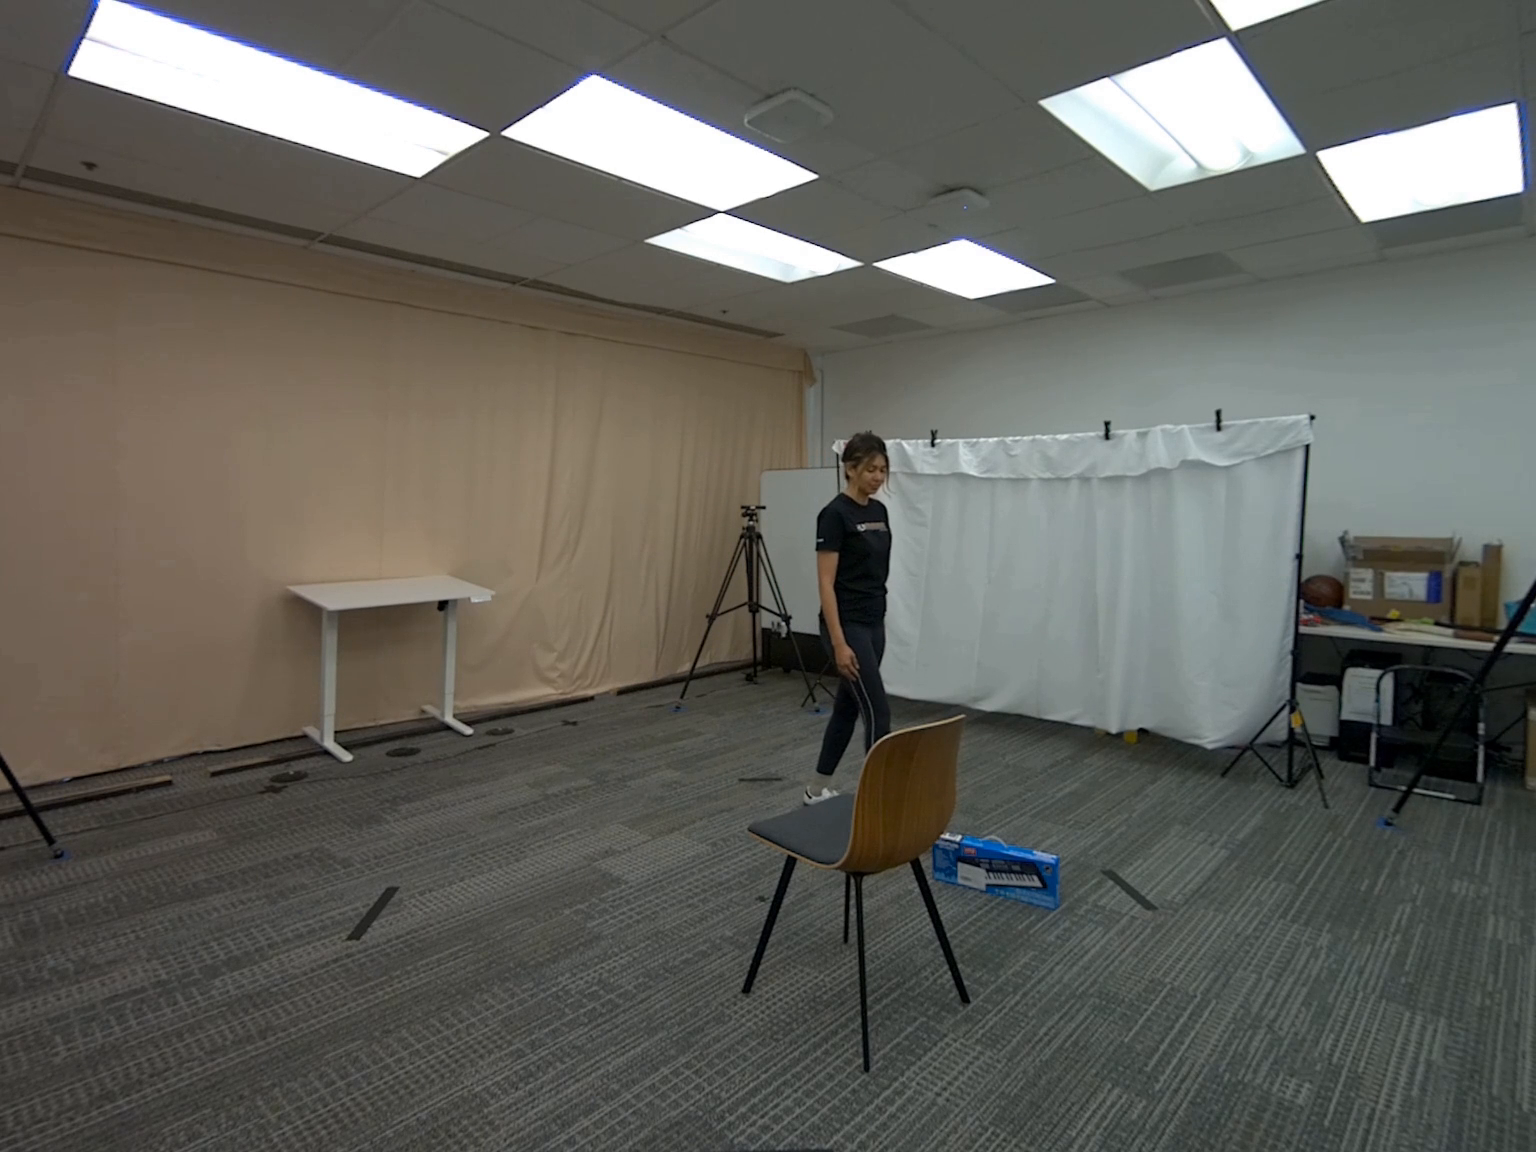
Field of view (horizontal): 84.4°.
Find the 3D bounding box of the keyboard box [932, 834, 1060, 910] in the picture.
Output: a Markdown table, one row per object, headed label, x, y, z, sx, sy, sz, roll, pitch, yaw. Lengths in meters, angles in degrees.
| label | x | y | z | sx | sy | sz | roll | pitch | yaw |
| --- | --- | --- | --- | --- | --- | --- | --- | --- | --- |
| keyboard box | 0.818 | 1.053 | 3.023 | 0.450 | 0.175 | 0.057 | 3 | 10 | 33 |
